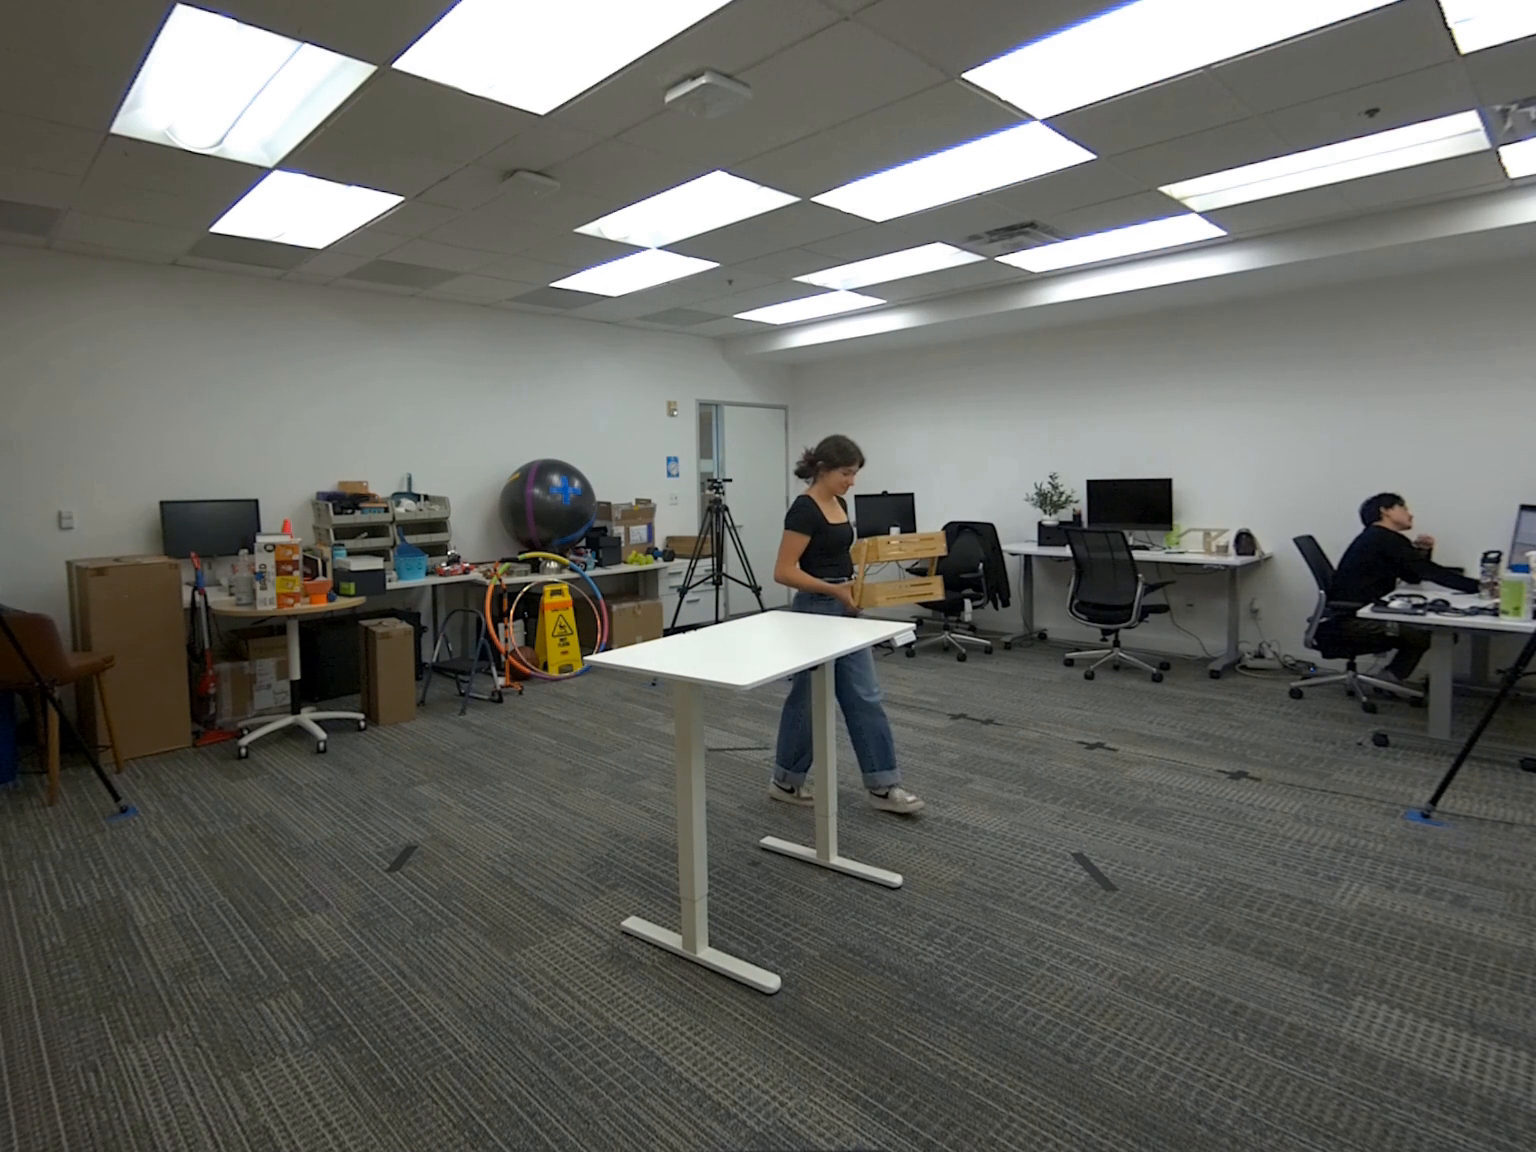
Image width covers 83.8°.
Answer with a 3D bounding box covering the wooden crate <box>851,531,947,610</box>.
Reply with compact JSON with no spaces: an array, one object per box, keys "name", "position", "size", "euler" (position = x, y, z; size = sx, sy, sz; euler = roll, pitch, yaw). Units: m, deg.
[{"name":"wooden crate","position":[0.491,-0.028,3.334],"size":[0.319,0.274,0.306],"euler":[-6,-1,-19]}]
